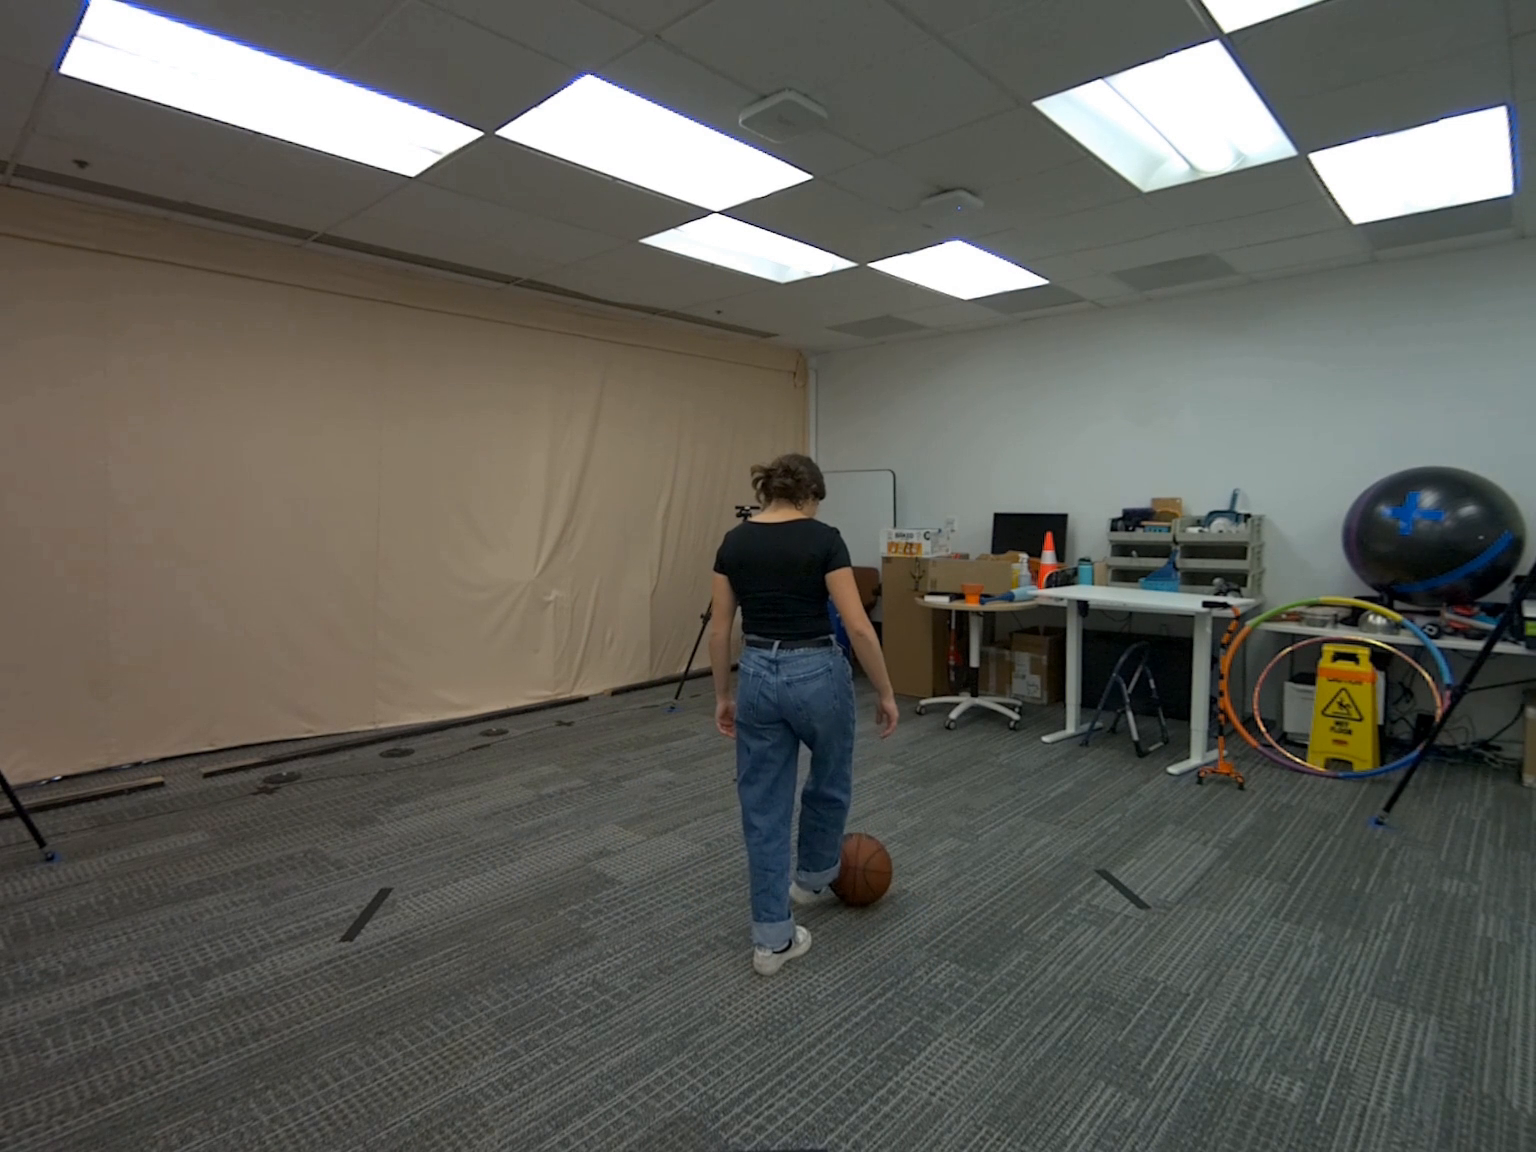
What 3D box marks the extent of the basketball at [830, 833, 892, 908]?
[{"bbox_3d":[0.320,1.025,2.951,0.236,0.235,0.237,0,4,-2],"label":"basketball"}]
